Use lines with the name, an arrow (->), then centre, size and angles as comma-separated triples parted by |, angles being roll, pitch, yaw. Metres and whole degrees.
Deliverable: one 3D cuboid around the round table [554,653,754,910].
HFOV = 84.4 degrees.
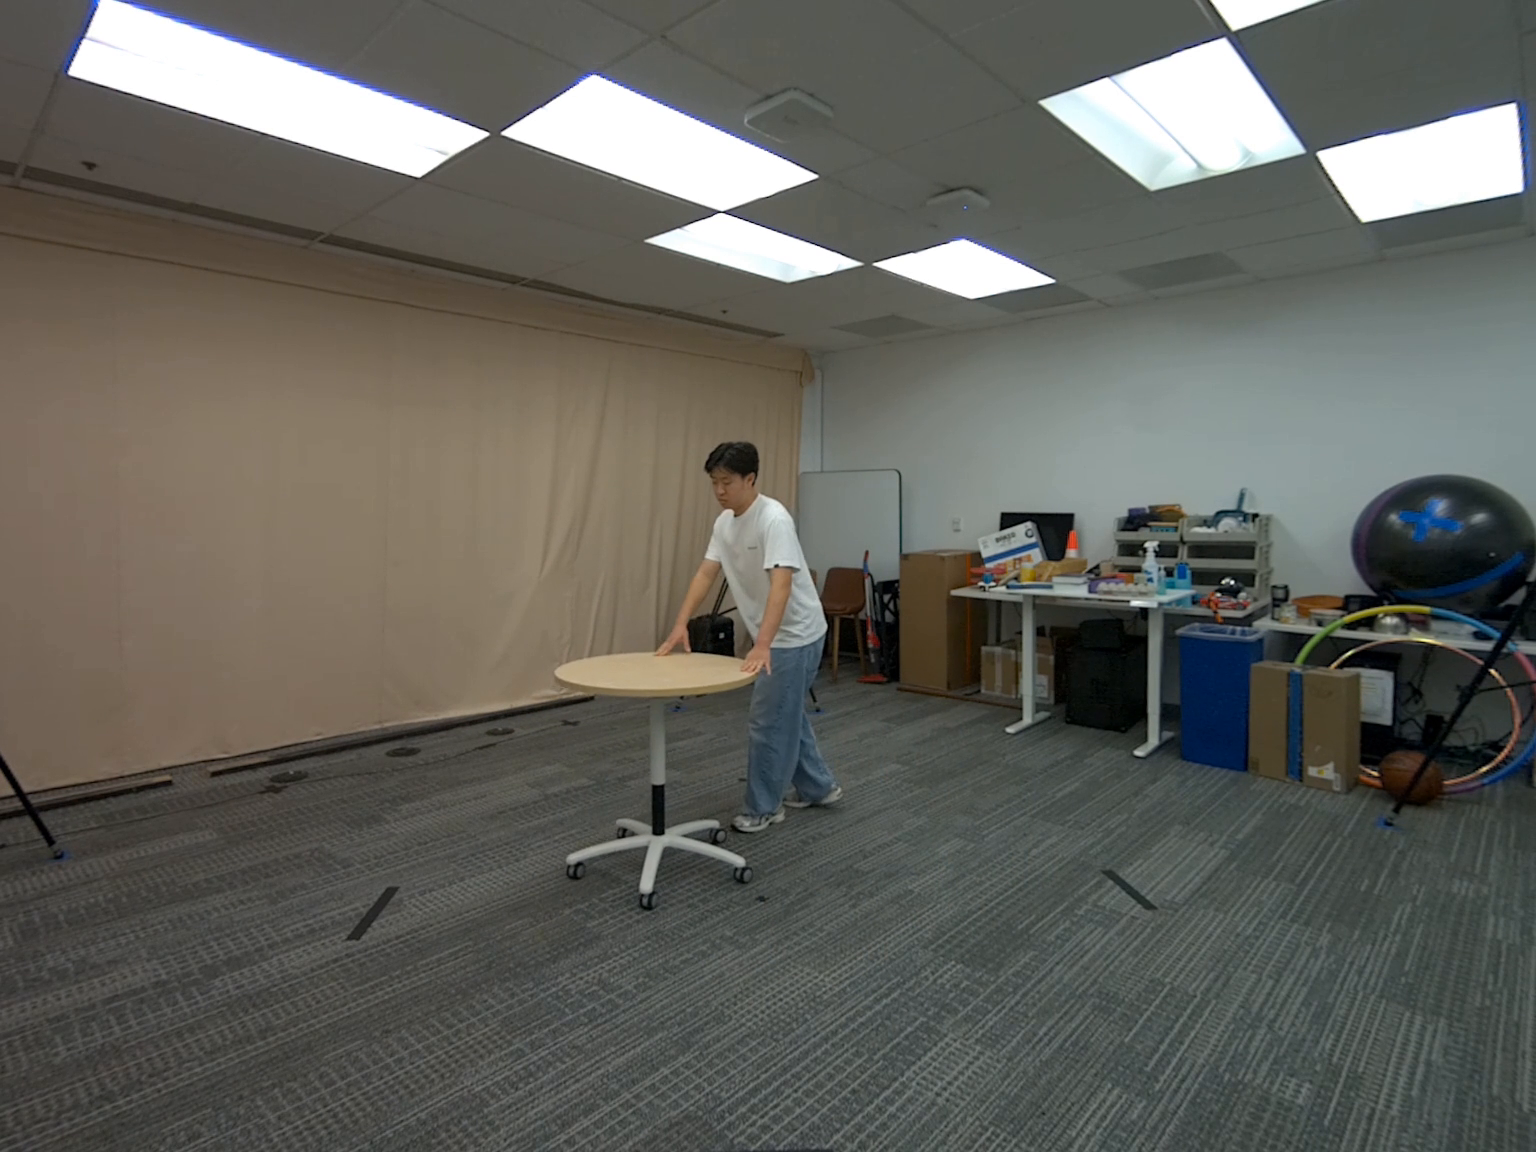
round table -> -0.410, 0.741, 3.220 | 0.763, 0.792, 0.766 | 0, 3, -2
